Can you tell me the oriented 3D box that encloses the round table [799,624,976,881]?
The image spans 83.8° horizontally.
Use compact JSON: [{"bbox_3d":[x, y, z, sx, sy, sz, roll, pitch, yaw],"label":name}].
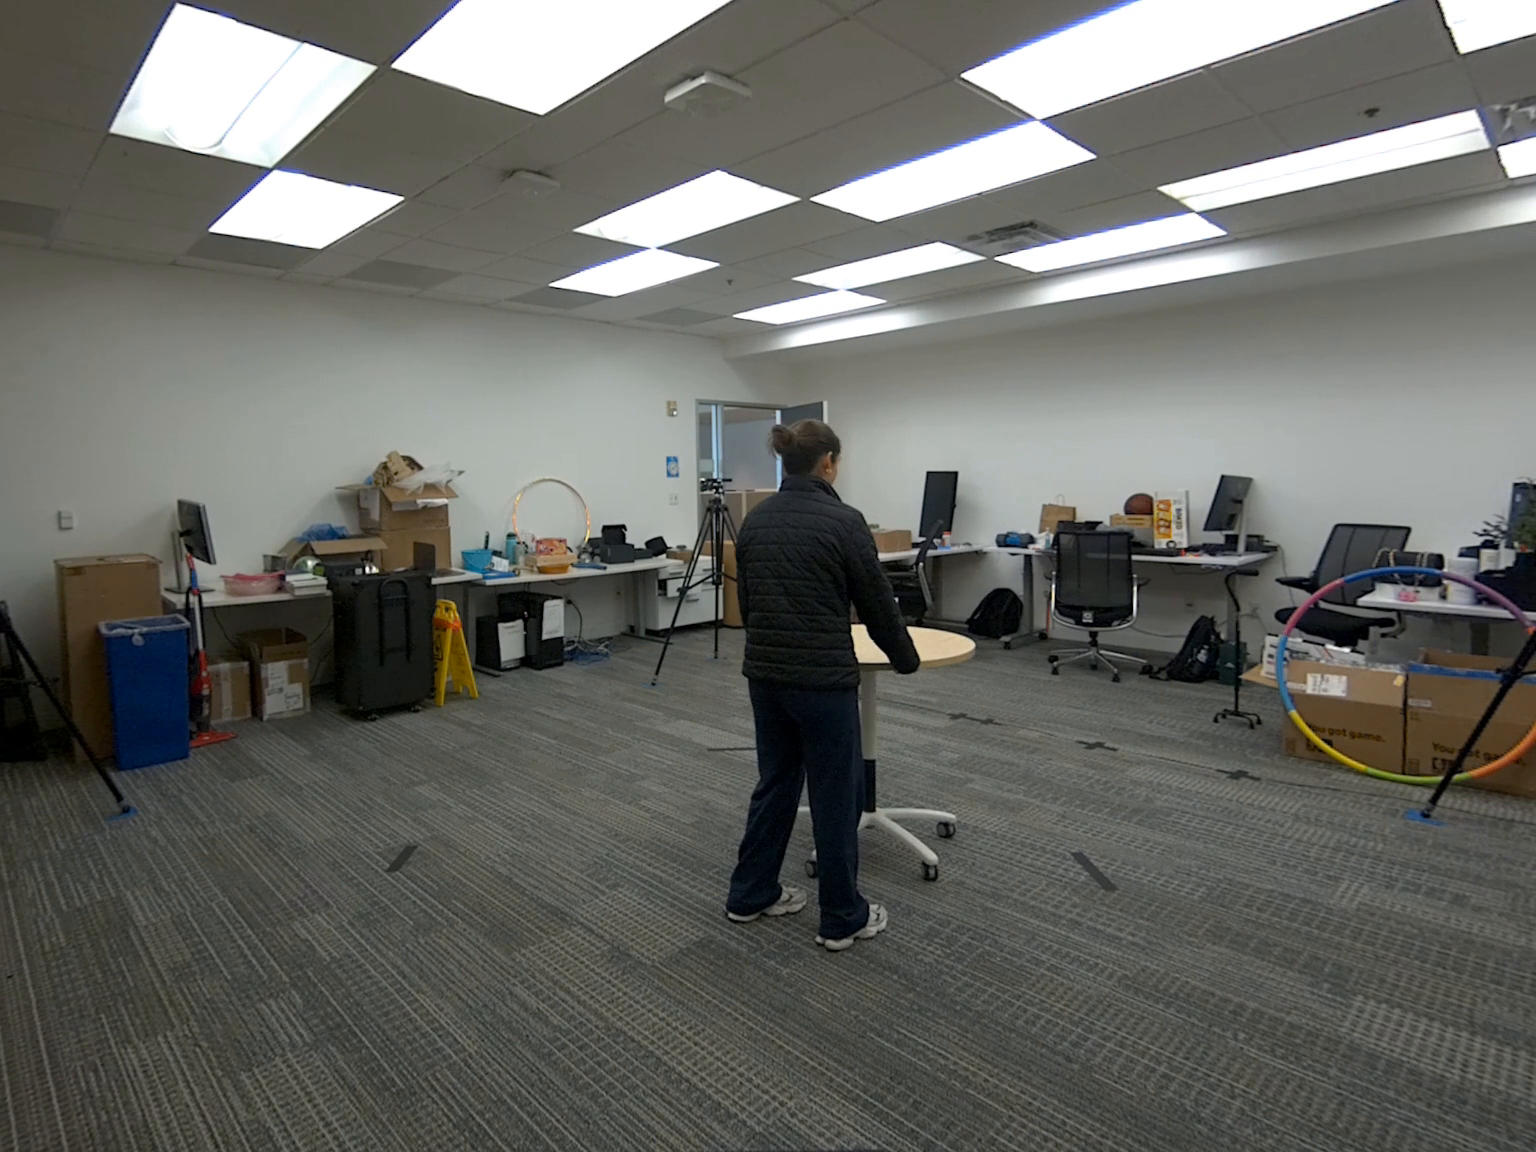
[{"bbox_3d":[0.364,0.631,3.215,0.784,0.784,0.789,-1,5,-2],"label":"round table"}]
